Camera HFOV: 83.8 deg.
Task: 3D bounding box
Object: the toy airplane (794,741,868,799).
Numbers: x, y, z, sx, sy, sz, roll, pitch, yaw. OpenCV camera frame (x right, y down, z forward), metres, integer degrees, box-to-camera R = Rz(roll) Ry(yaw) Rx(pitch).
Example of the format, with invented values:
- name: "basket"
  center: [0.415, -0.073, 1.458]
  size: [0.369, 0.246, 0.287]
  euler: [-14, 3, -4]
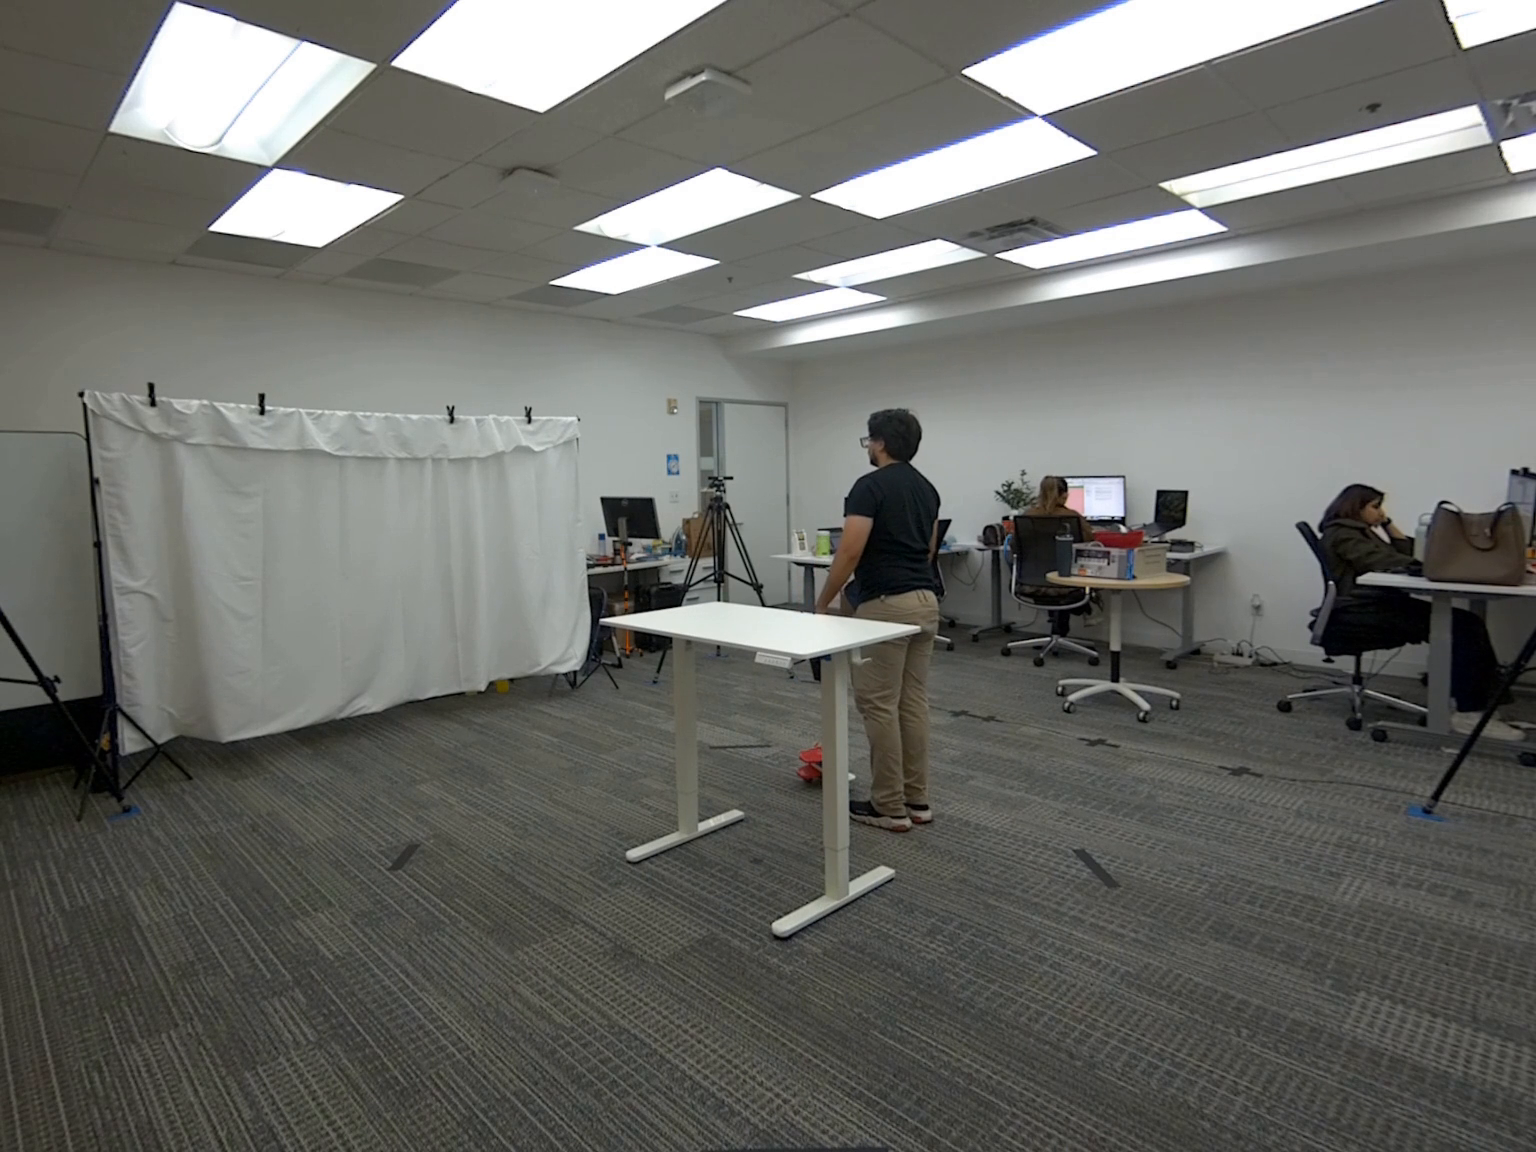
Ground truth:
- name: "toy airplane"
  center: [0.285, 0.869, 3.874]
  size: [0.265, 0.156, 0.247]
  euler: [0, 6, 23]
